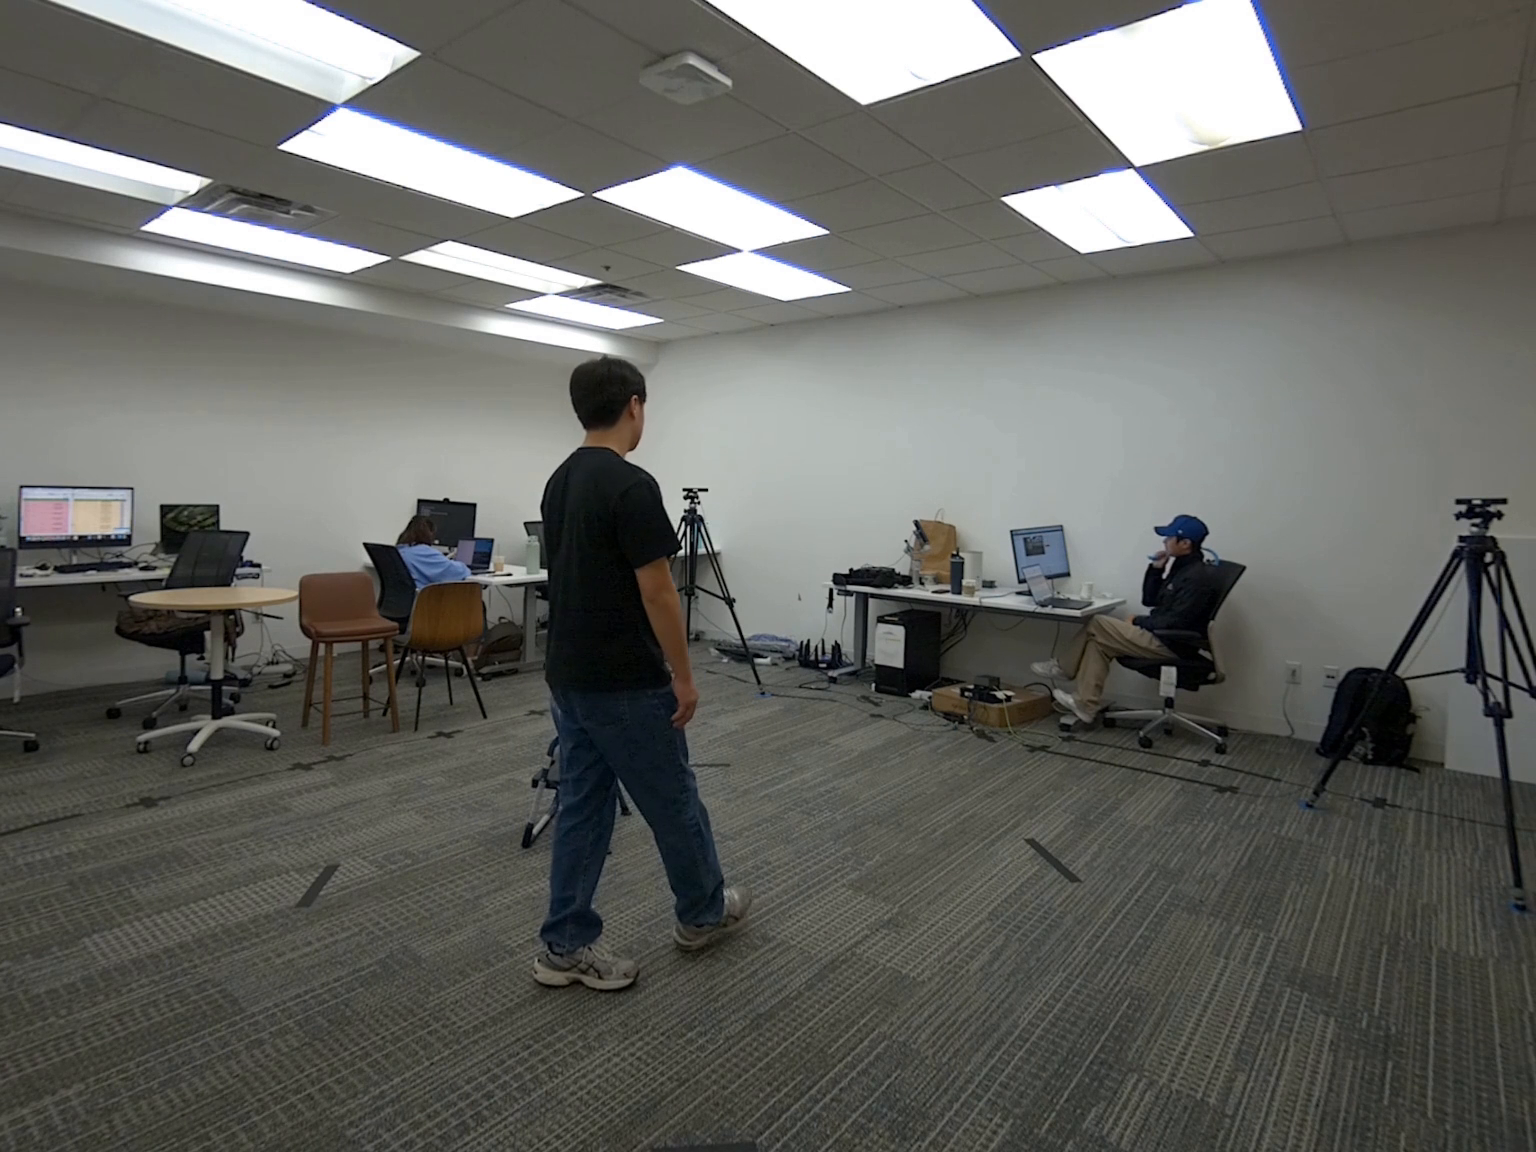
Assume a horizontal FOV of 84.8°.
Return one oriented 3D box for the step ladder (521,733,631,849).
[{"bbox_3d":[-0.769,0.726,3.434,0.351,0.605,0.430,1,2,2],"label":"step ladder"}]
